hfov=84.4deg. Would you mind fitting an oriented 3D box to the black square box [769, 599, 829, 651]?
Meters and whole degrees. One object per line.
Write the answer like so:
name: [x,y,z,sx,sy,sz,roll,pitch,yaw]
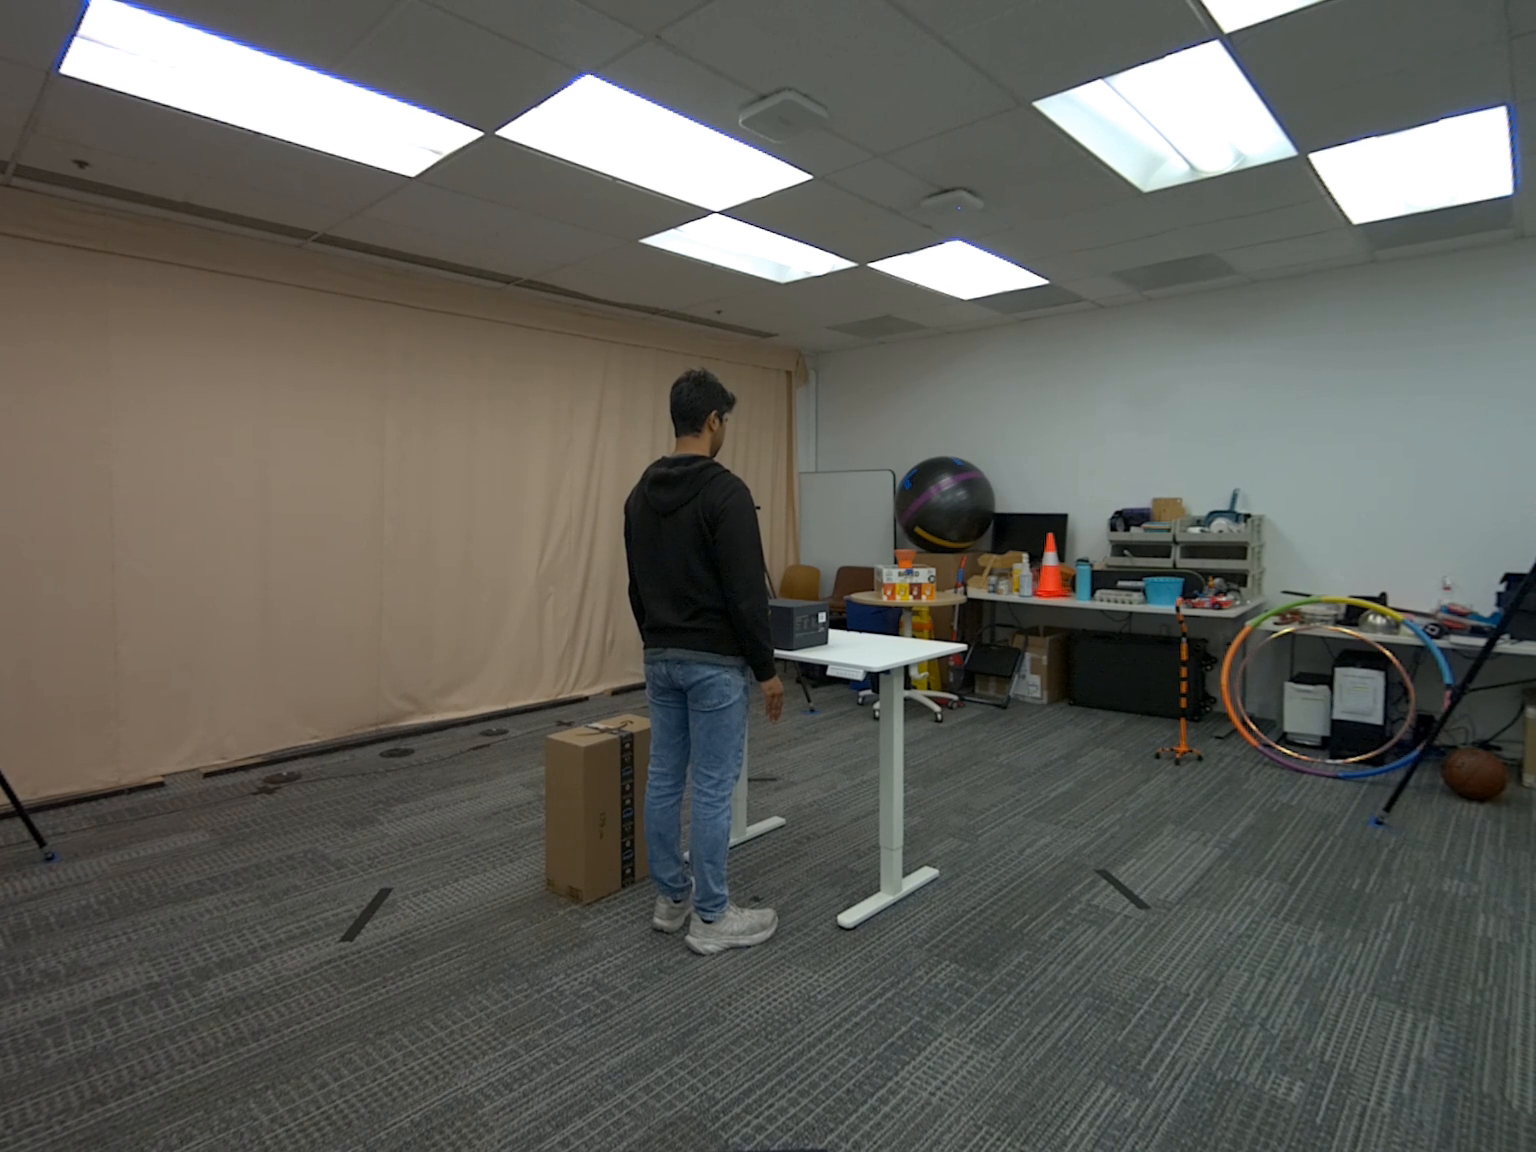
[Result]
black square box: [0.067,0.173,3.085,0.235,0.155,0.210,3,5,42]
